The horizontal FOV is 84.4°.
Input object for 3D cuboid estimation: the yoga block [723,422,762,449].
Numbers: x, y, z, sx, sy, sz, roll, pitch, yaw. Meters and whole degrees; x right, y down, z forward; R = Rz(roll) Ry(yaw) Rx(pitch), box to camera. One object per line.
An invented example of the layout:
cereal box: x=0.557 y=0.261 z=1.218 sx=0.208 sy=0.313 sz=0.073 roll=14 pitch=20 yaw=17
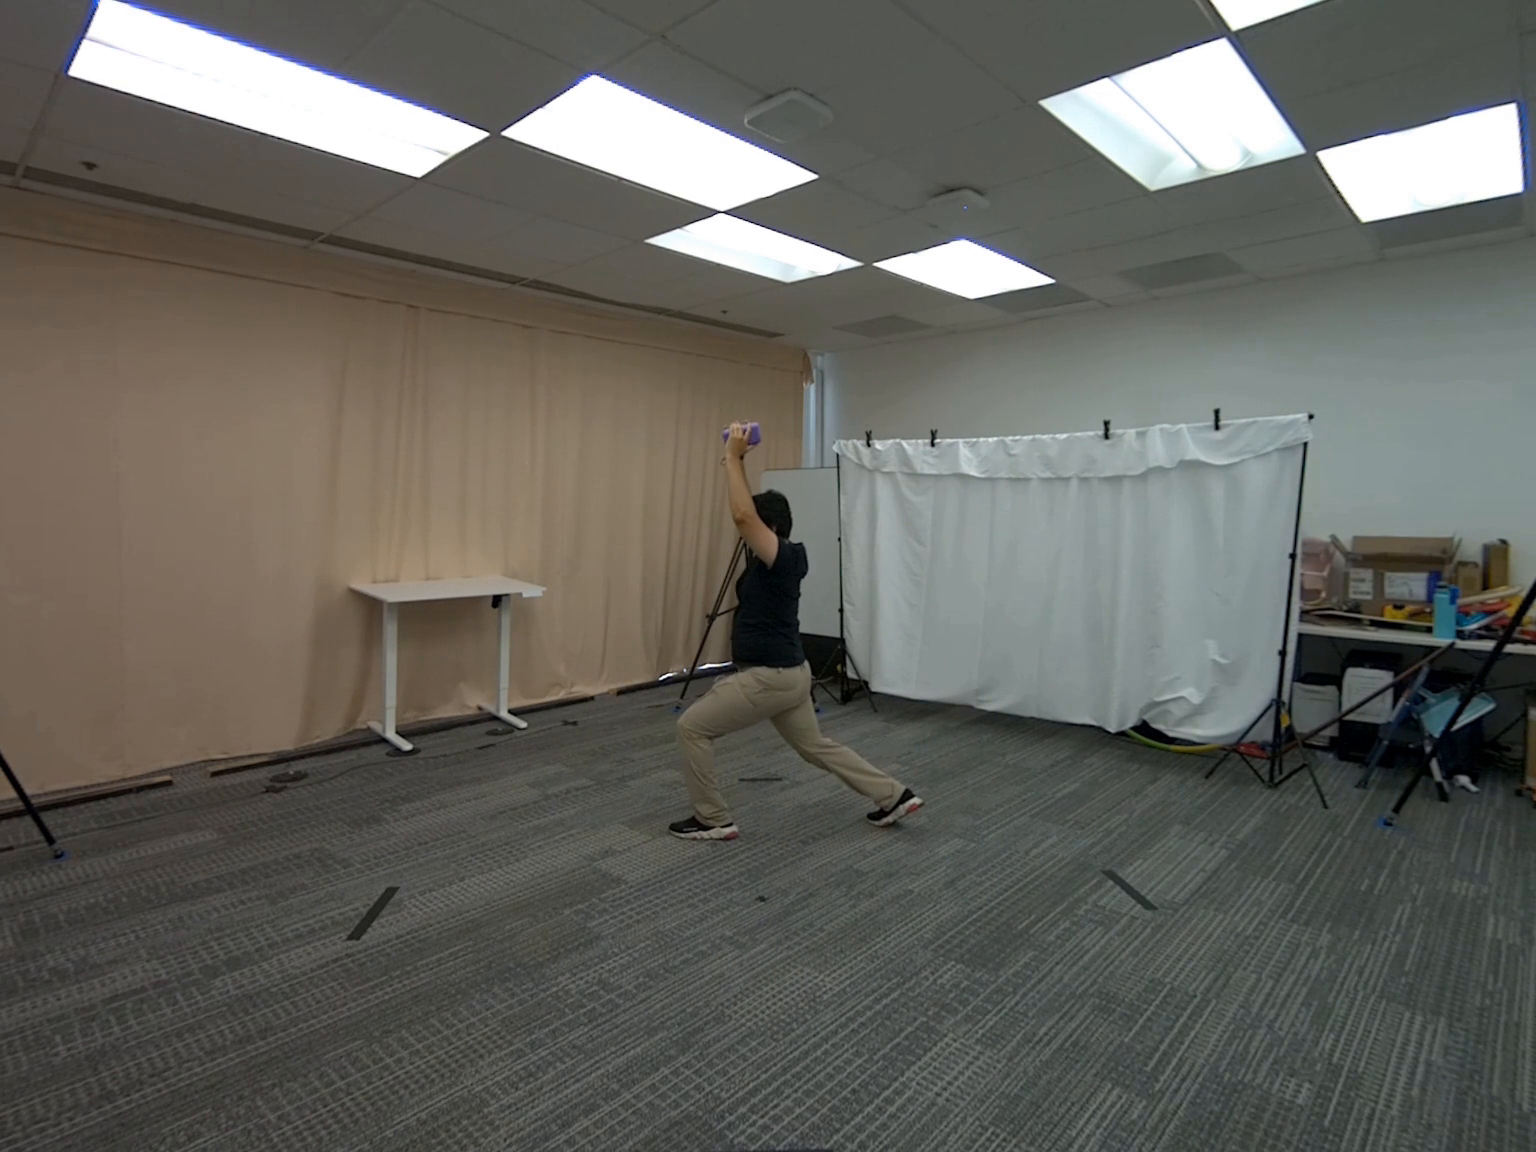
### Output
yoga block: x=-0.092 y=-0.589 z=3.501 sx=0.149 sy=0.075 sz=0.231 roll=-14 pitch=13 yaw=3
